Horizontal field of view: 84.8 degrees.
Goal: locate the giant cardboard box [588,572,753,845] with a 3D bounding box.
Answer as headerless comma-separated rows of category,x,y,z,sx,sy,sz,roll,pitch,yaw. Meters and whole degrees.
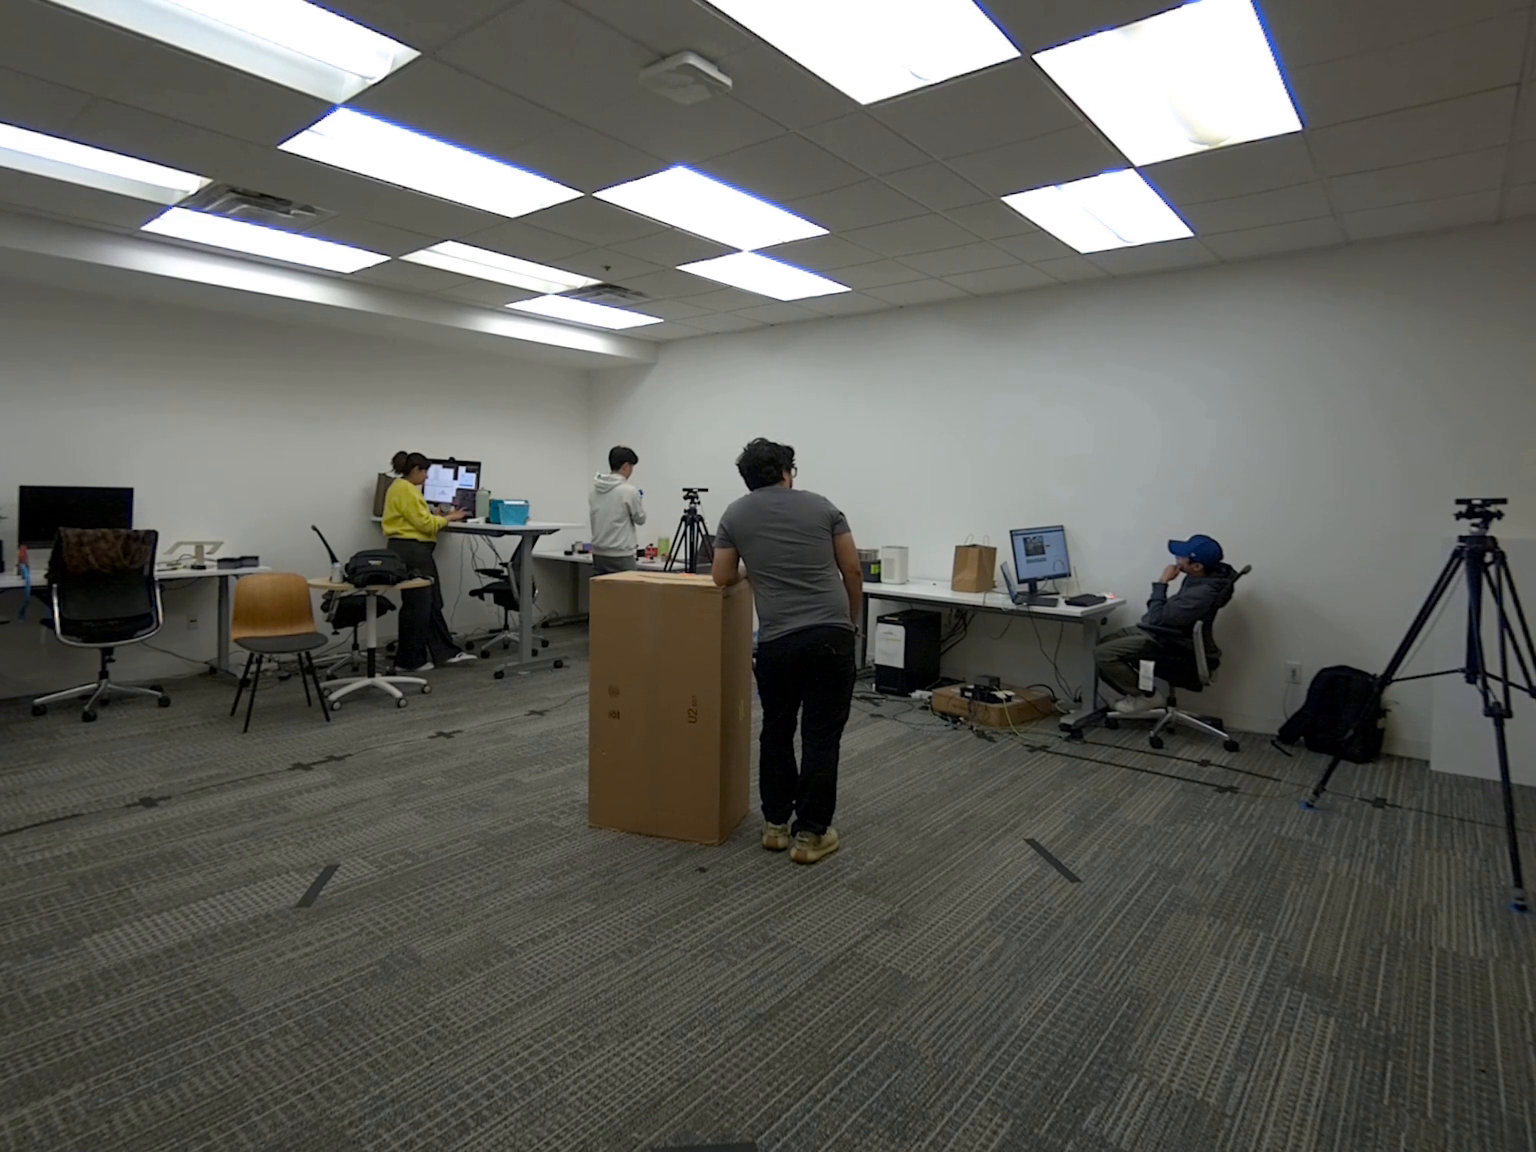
giant cardboard box,-0.418,0.513,3.587,0.589,1.023,0.419,2,3,19
